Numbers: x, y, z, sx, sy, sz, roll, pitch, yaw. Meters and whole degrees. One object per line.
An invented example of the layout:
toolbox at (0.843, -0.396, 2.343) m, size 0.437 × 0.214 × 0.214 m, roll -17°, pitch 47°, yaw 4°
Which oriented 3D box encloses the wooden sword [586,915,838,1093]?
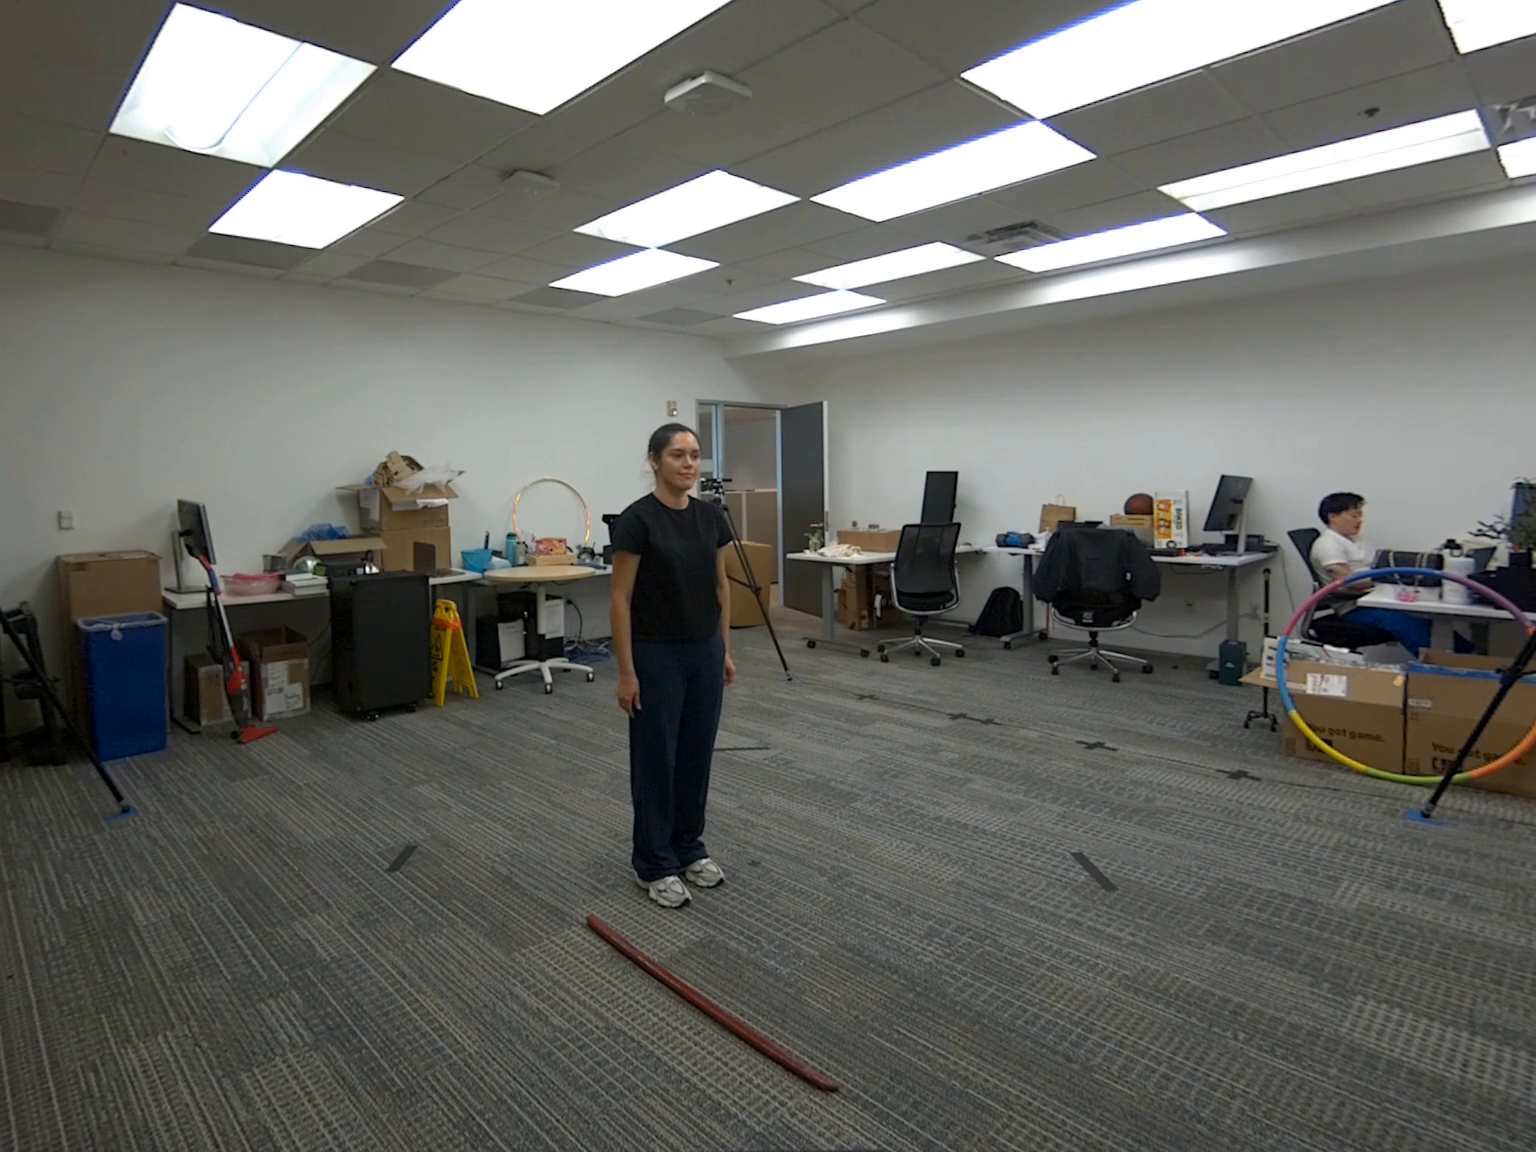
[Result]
wooden sword at (-0.202, 1.112, 2.332) m, size 0.050 × 0.023 × 1.057 m, roll -28°, pitch 23°, yaw -38°
